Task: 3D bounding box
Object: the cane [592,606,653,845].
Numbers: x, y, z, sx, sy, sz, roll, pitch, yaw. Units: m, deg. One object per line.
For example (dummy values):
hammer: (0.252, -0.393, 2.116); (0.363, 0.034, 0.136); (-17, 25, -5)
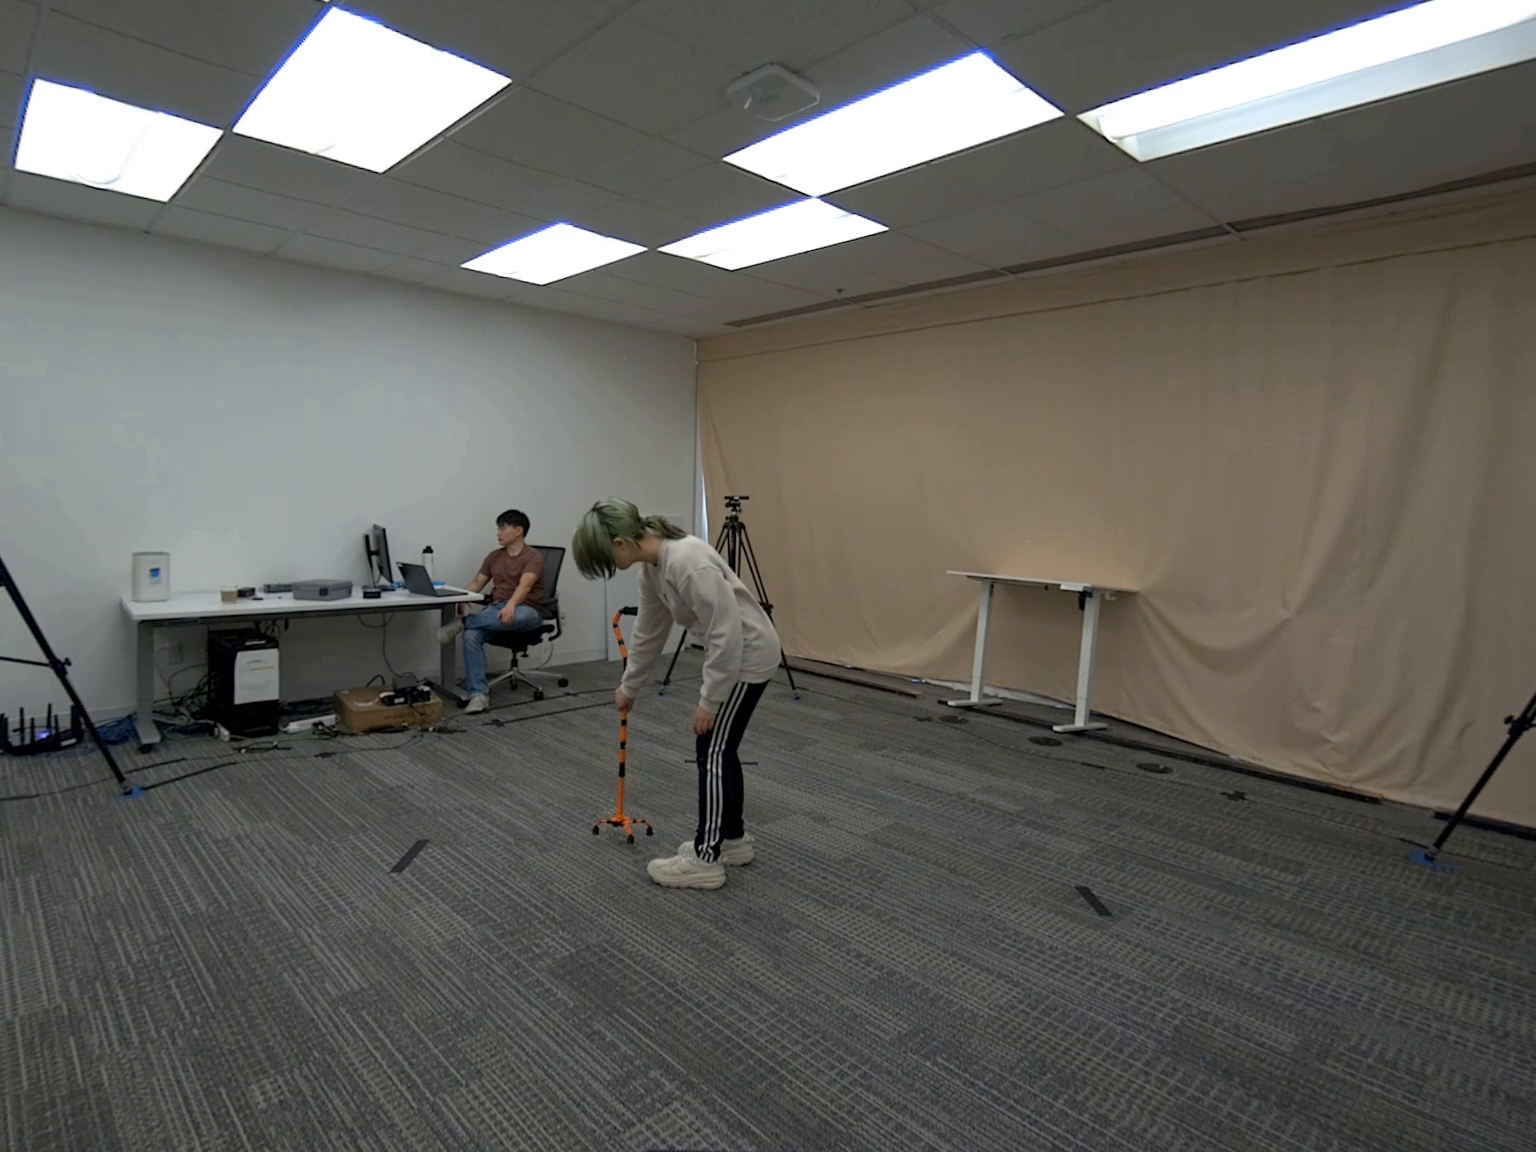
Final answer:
cane: (-0.585, 0.574, 3.359); (0.211, 0.908, 0.148); (0, 0, 32)
